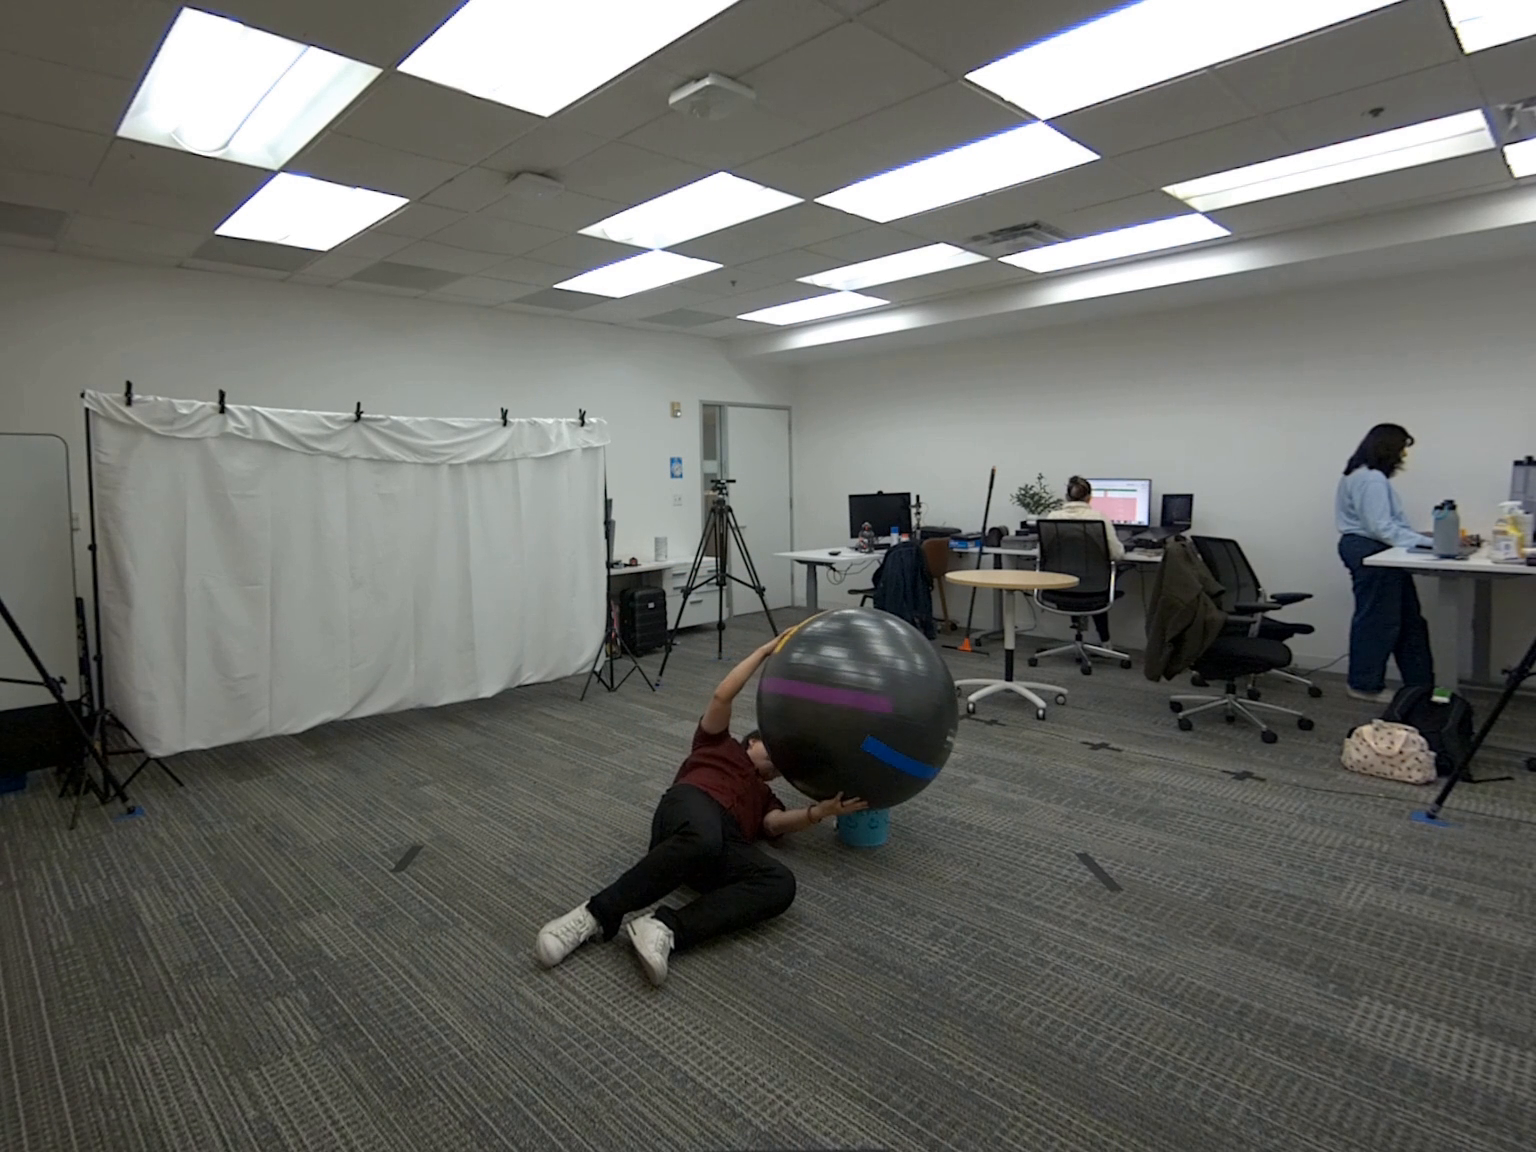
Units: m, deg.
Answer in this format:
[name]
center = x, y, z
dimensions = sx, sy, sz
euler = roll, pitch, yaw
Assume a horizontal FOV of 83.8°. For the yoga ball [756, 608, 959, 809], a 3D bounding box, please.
[yoga ball]
center = 0.343, 0.503, 3.264
dimensions = 0.757, 0.755, 0.762
euler = -1, 5, -2
